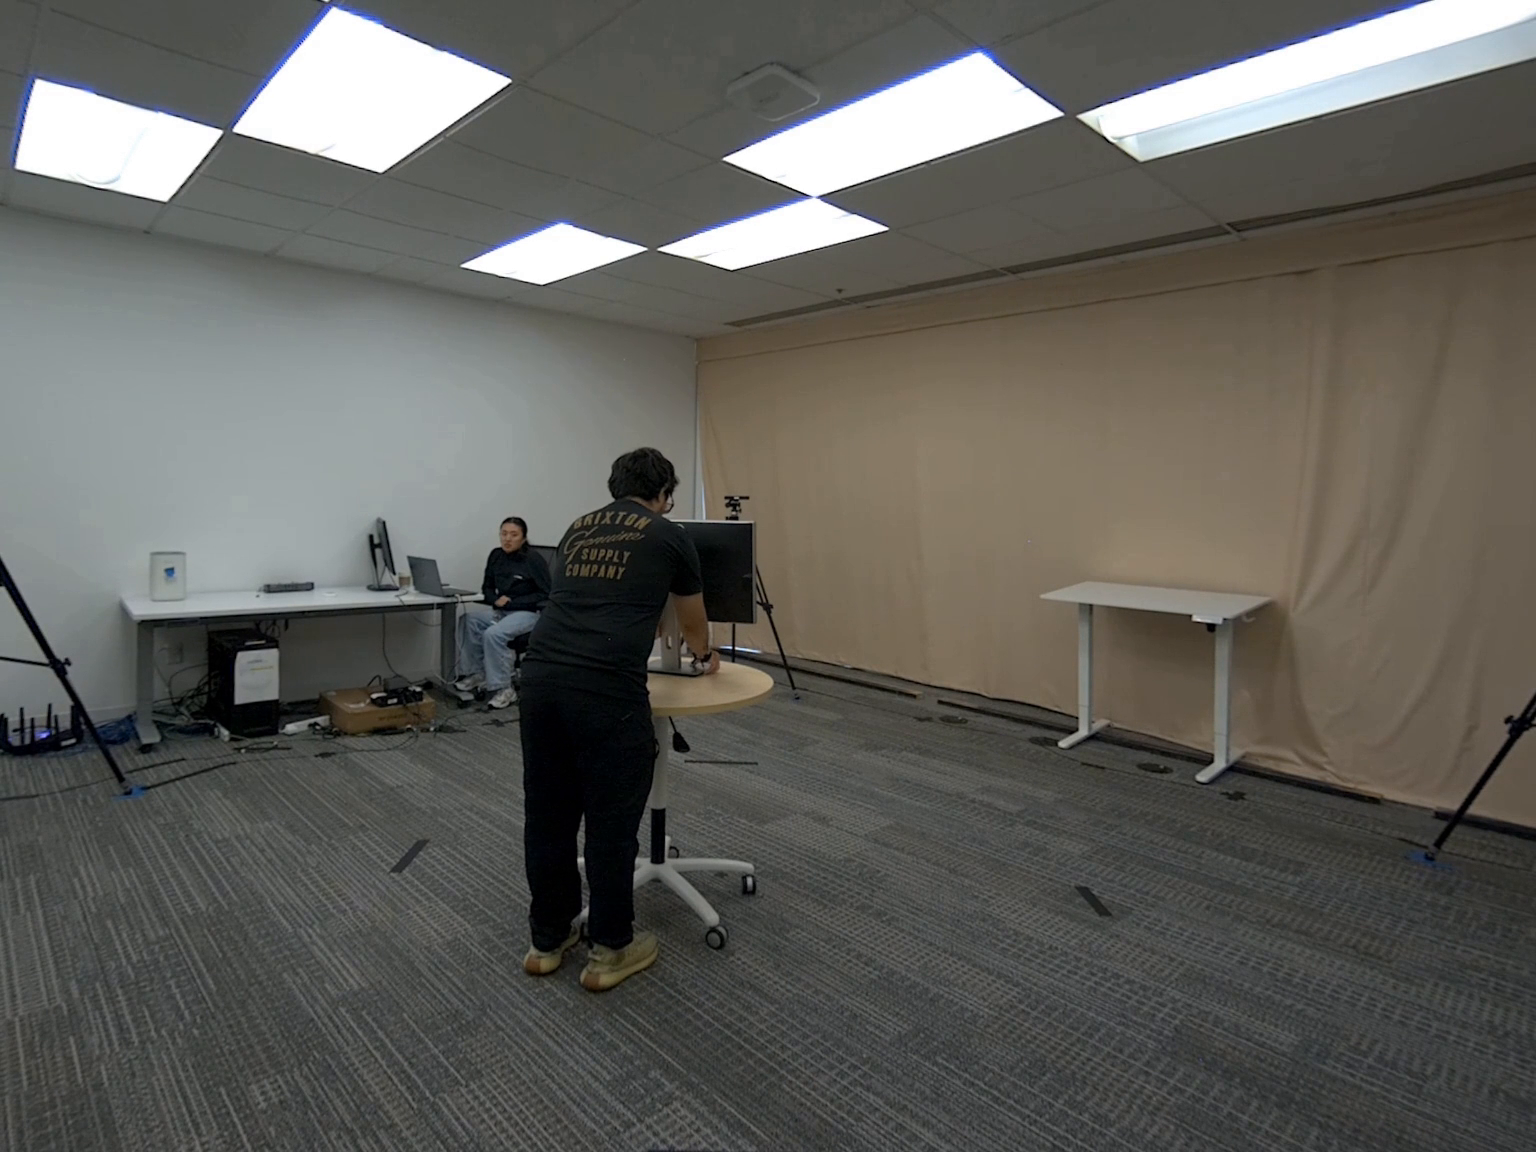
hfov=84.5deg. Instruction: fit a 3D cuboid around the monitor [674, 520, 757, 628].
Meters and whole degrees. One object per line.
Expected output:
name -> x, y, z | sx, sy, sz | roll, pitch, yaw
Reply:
monitor -> -0.334, 0.077, 2.970 | 0.574, 0.552, 0.207 | 3, 6, 20
